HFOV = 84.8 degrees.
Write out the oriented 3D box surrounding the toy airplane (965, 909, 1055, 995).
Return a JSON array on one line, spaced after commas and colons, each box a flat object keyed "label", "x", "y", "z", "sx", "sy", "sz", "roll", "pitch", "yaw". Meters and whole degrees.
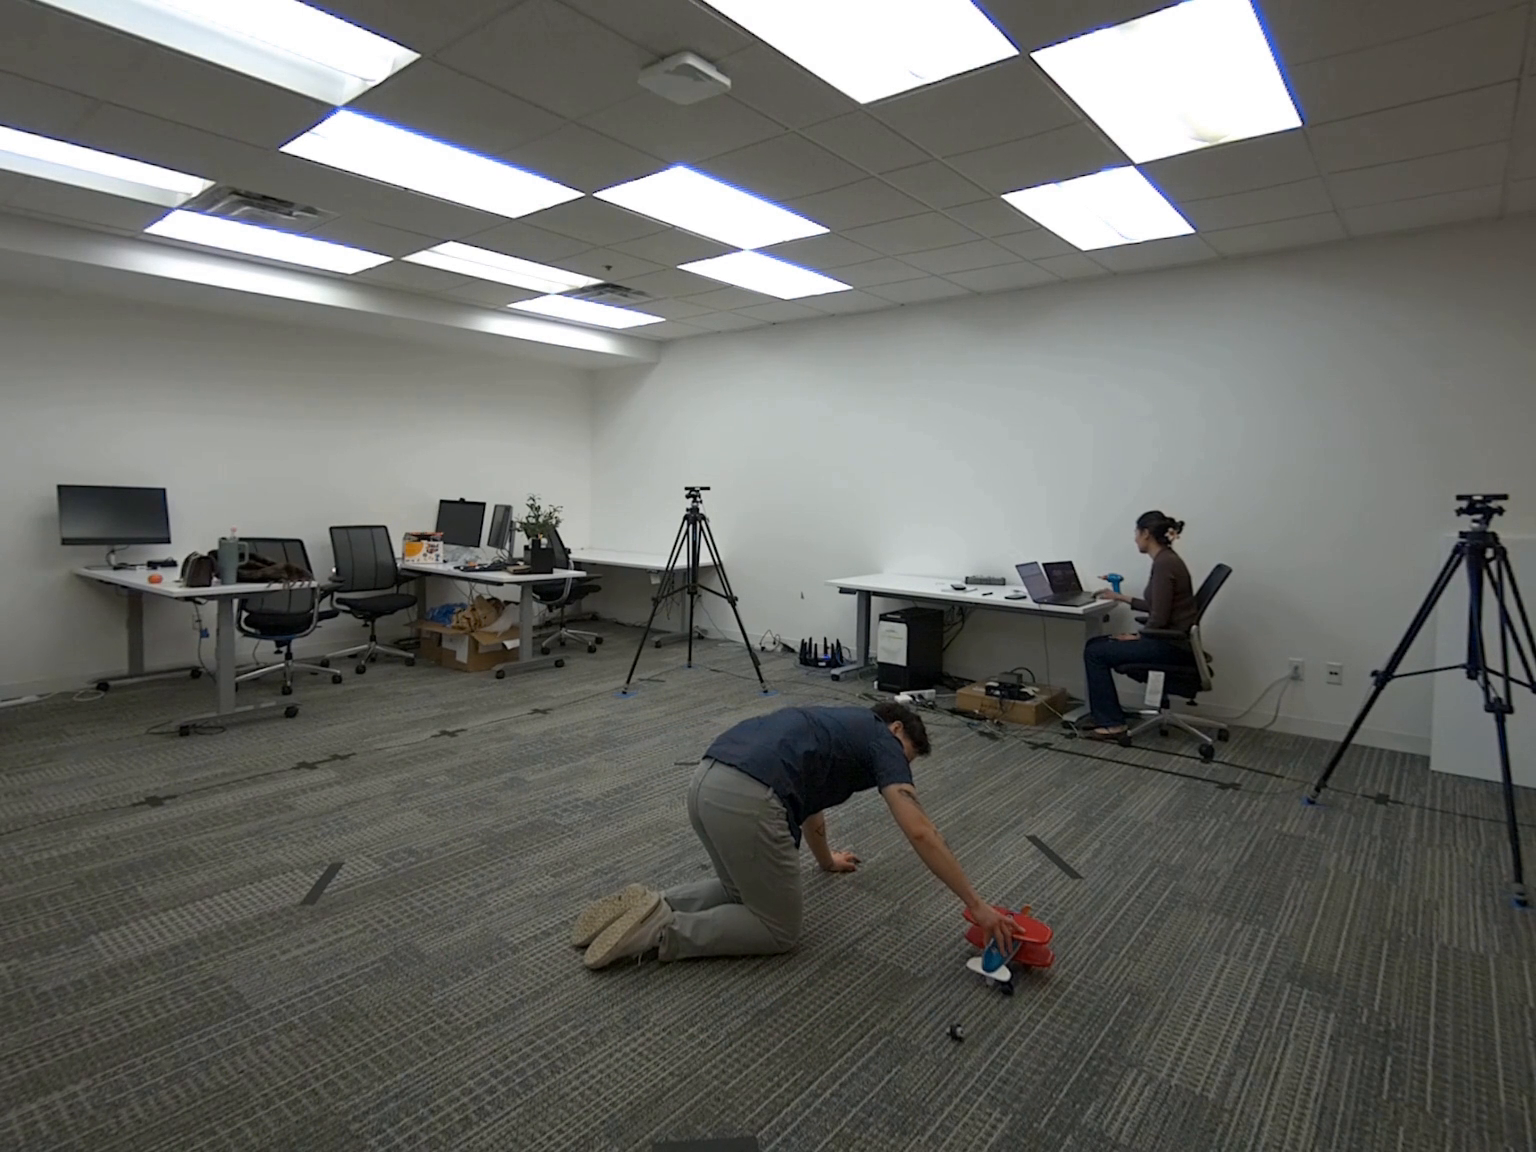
[{"label": "toy airplane", "x": 0.696, "y": 1.084, "z": 2.453, "sx": 0.254, "sy": 0.156, "sz": 0.256, "roll": -1, "pitch": 4, "yaw": 11}]
